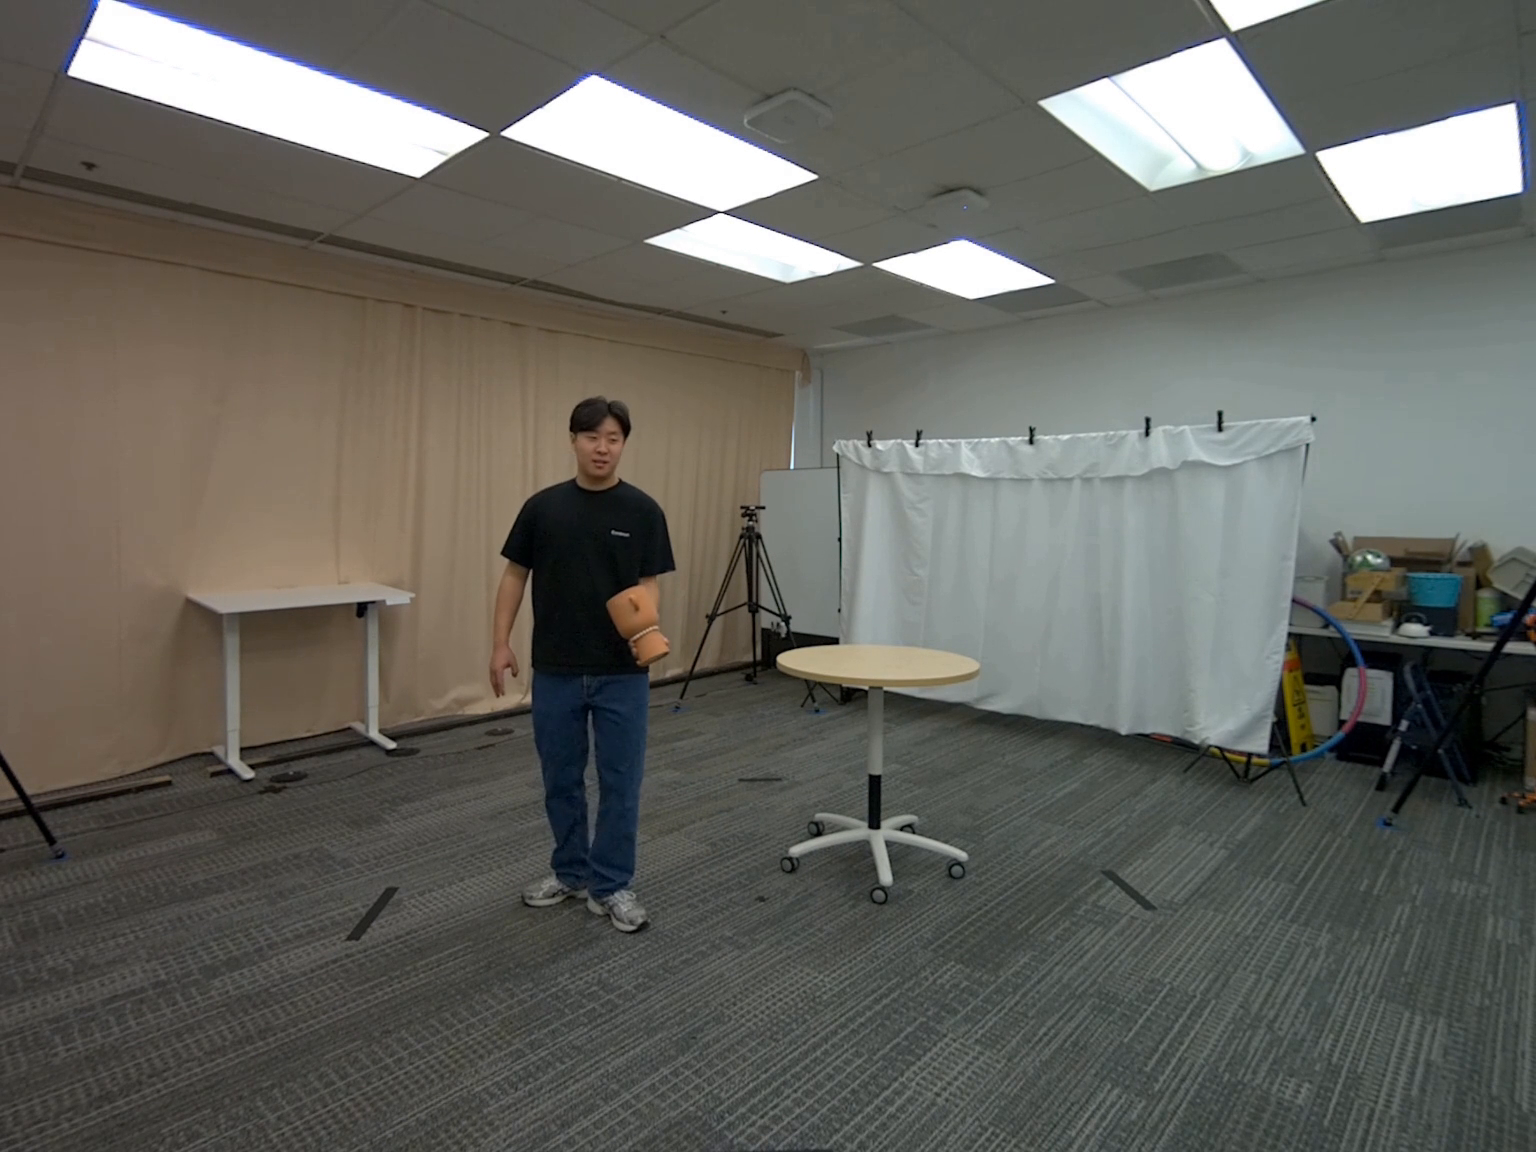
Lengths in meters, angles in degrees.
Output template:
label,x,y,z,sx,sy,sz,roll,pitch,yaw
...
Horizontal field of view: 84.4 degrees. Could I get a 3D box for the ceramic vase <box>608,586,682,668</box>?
label,x,y,z,sx,sy,sz,roll,pitch,yaw
ceramic vase,-0.402,0.154,2.574,0.136,0.223,0.155,-33,-14,22
